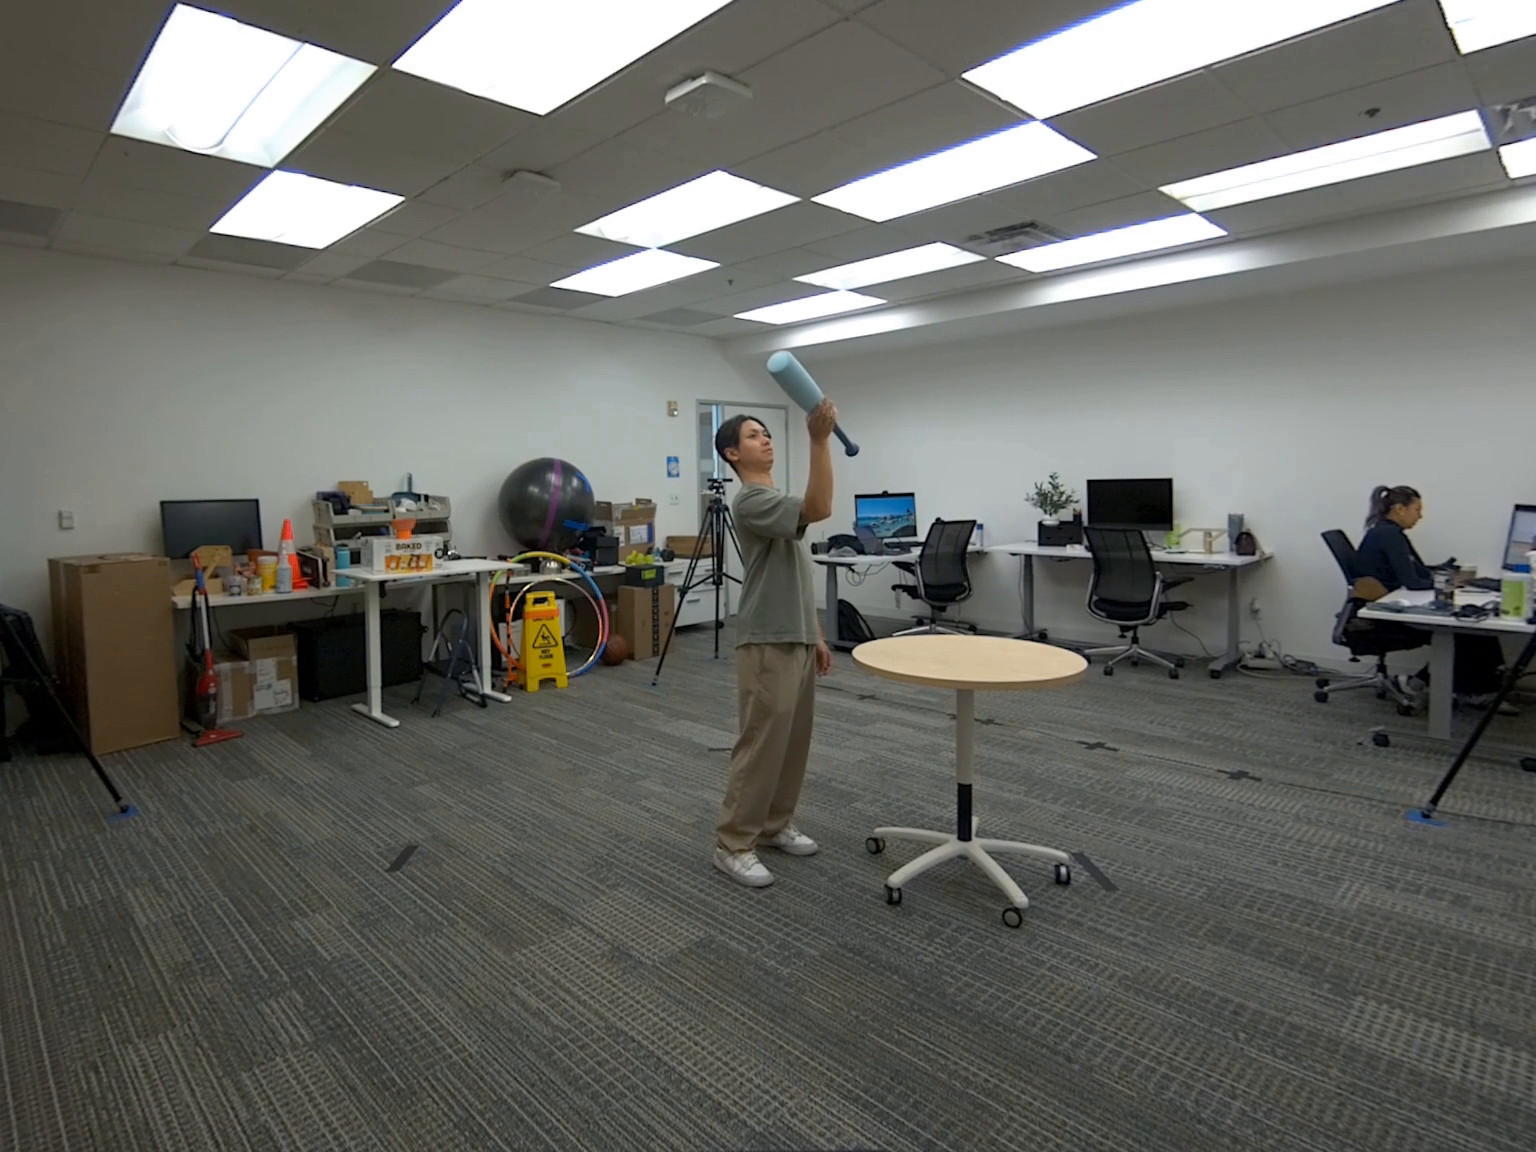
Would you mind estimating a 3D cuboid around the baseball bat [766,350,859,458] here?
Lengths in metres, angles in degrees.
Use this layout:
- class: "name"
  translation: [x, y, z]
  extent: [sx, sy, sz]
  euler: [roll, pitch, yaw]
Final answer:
- class: "baseball bat"
  translation: [0.169, -0.534, 2.740]
  extent: [0.091, 0.090, 0.522]
  euler: [2, -23, 35]
